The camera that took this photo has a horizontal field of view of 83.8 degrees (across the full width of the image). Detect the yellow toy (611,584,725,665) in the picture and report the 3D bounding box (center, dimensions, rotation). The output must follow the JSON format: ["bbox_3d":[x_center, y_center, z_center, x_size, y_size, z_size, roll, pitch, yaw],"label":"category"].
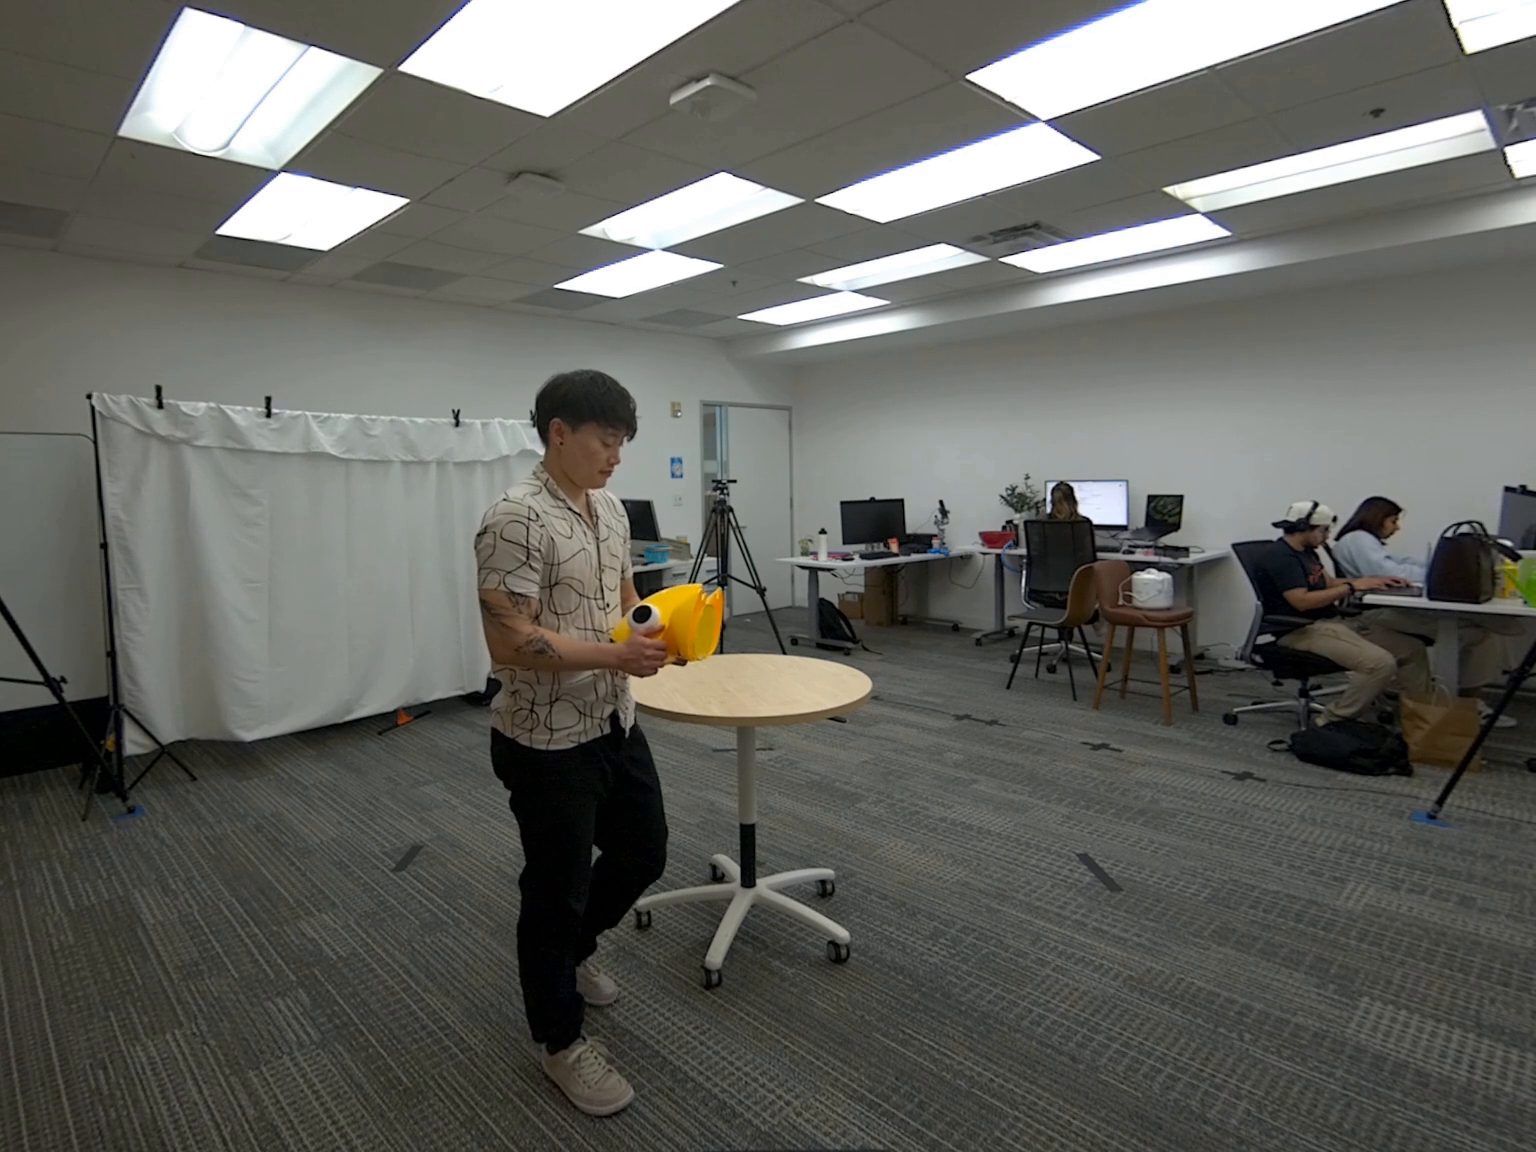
[{"bbox_3d":[-0.241,0.098,1.929,0.235,0.193,0.201,9,1,18],"label":"yellow toy"}]
